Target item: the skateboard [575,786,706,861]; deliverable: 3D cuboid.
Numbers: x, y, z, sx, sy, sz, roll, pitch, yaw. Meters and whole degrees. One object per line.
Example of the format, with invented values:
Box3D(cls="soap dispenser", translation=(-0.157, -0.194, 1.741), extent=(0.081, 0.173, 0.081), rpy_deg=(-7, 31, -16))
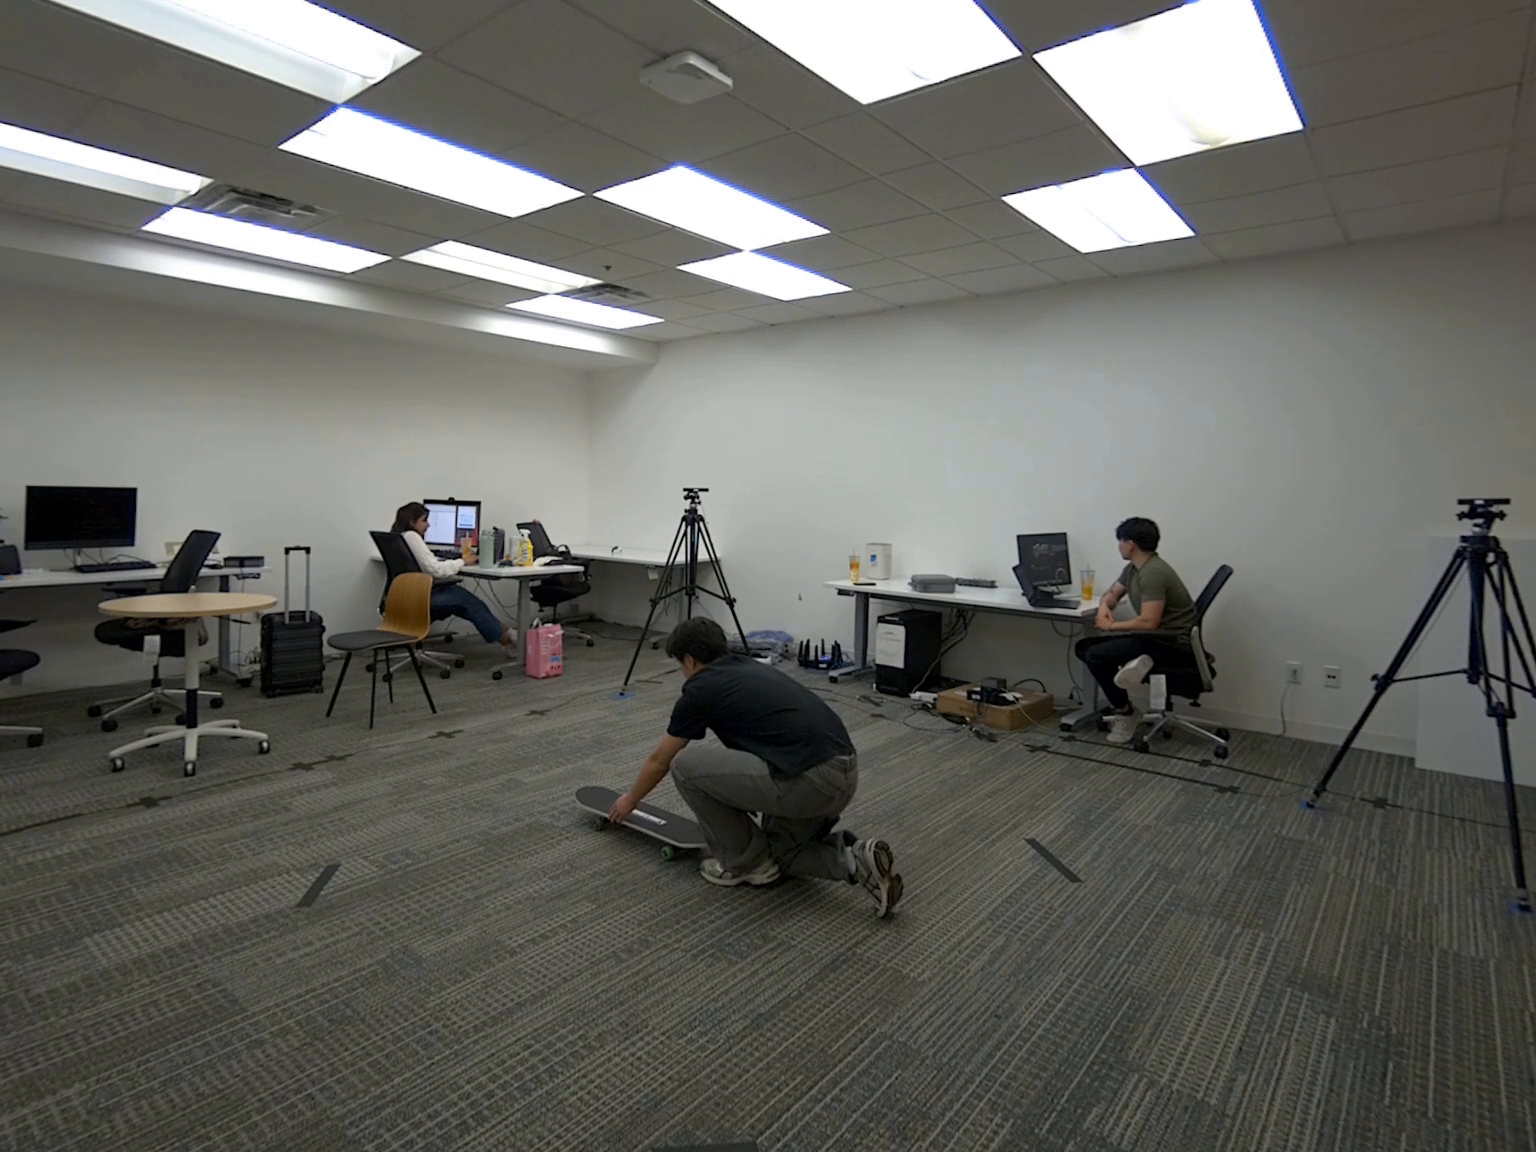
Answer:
Box3D(cls="skateboard", translation=(-0.493, 0.980, 3.368), extent=(0.812, 0.110, 0.188), rpy_deg=(6, 7, 40))
